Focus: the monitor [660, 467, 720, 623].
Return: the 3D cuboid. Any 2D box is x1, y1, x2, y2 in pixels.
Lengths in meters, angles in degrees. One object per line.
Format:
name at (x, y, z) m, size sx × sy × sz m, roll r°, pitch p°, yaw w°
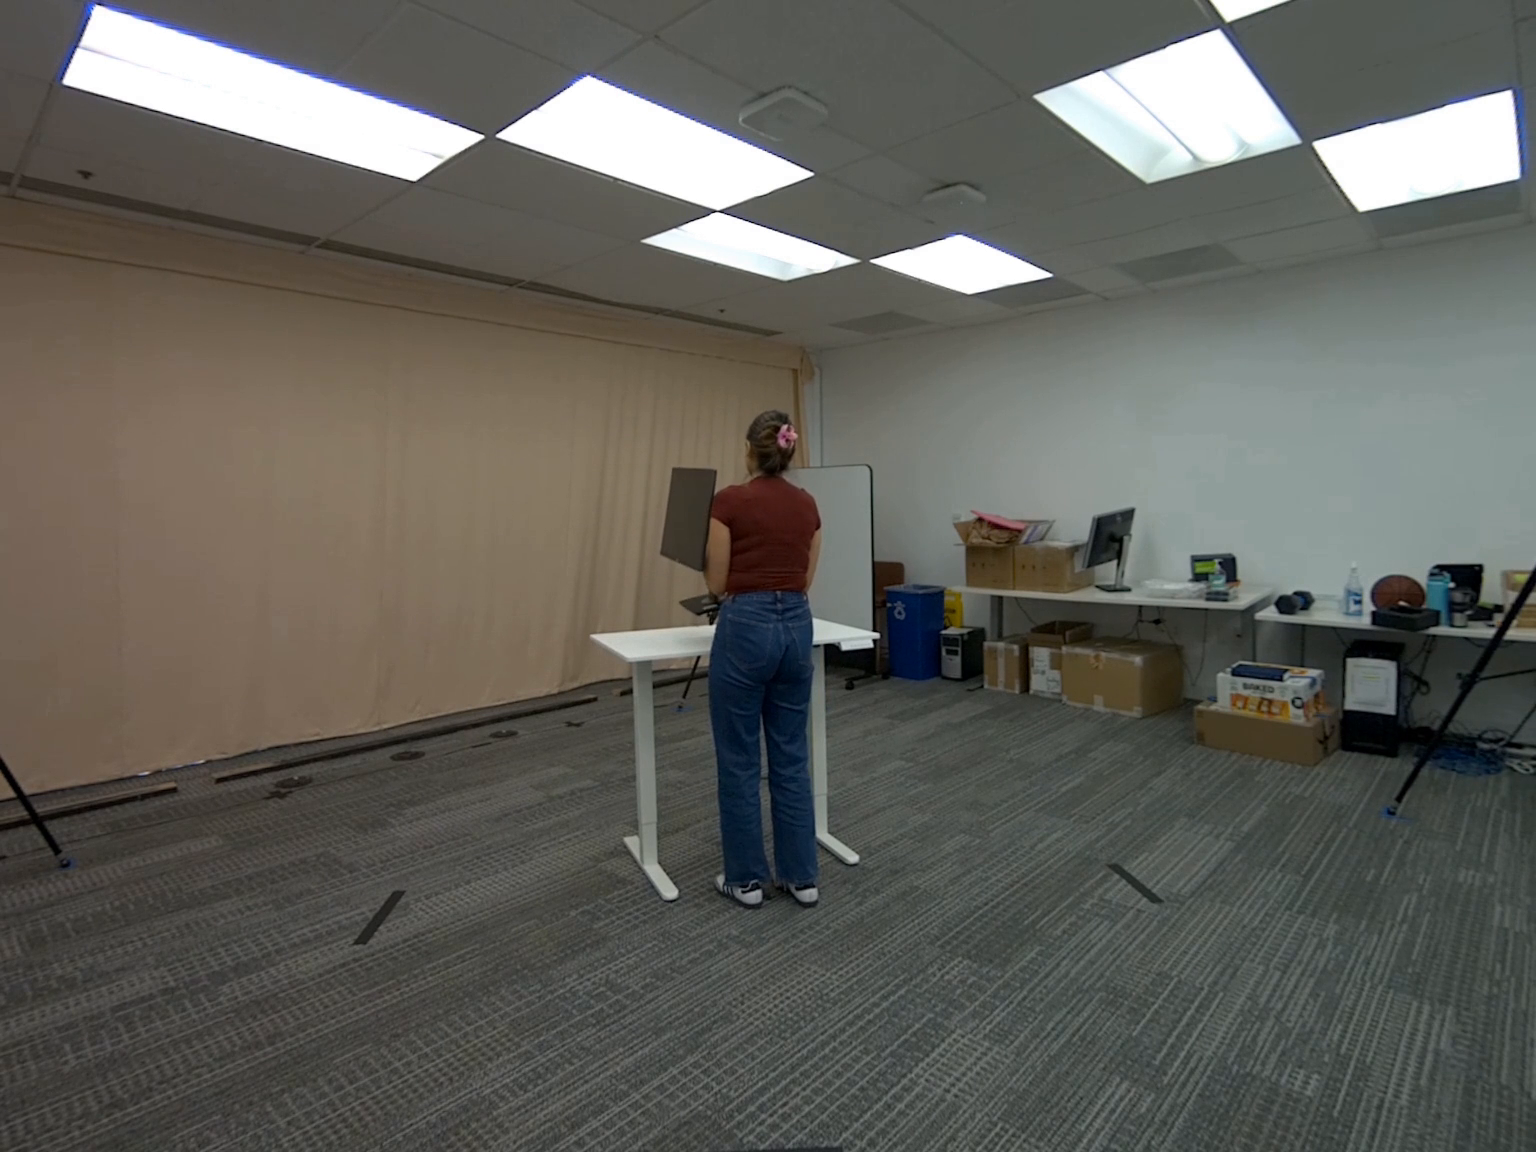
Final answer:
monitor at (-0.263, -0.138, 3.140) m, size 0.183 × 0.519 × 0.553 m, roll -8°, pitch 10°, yaw -22°
